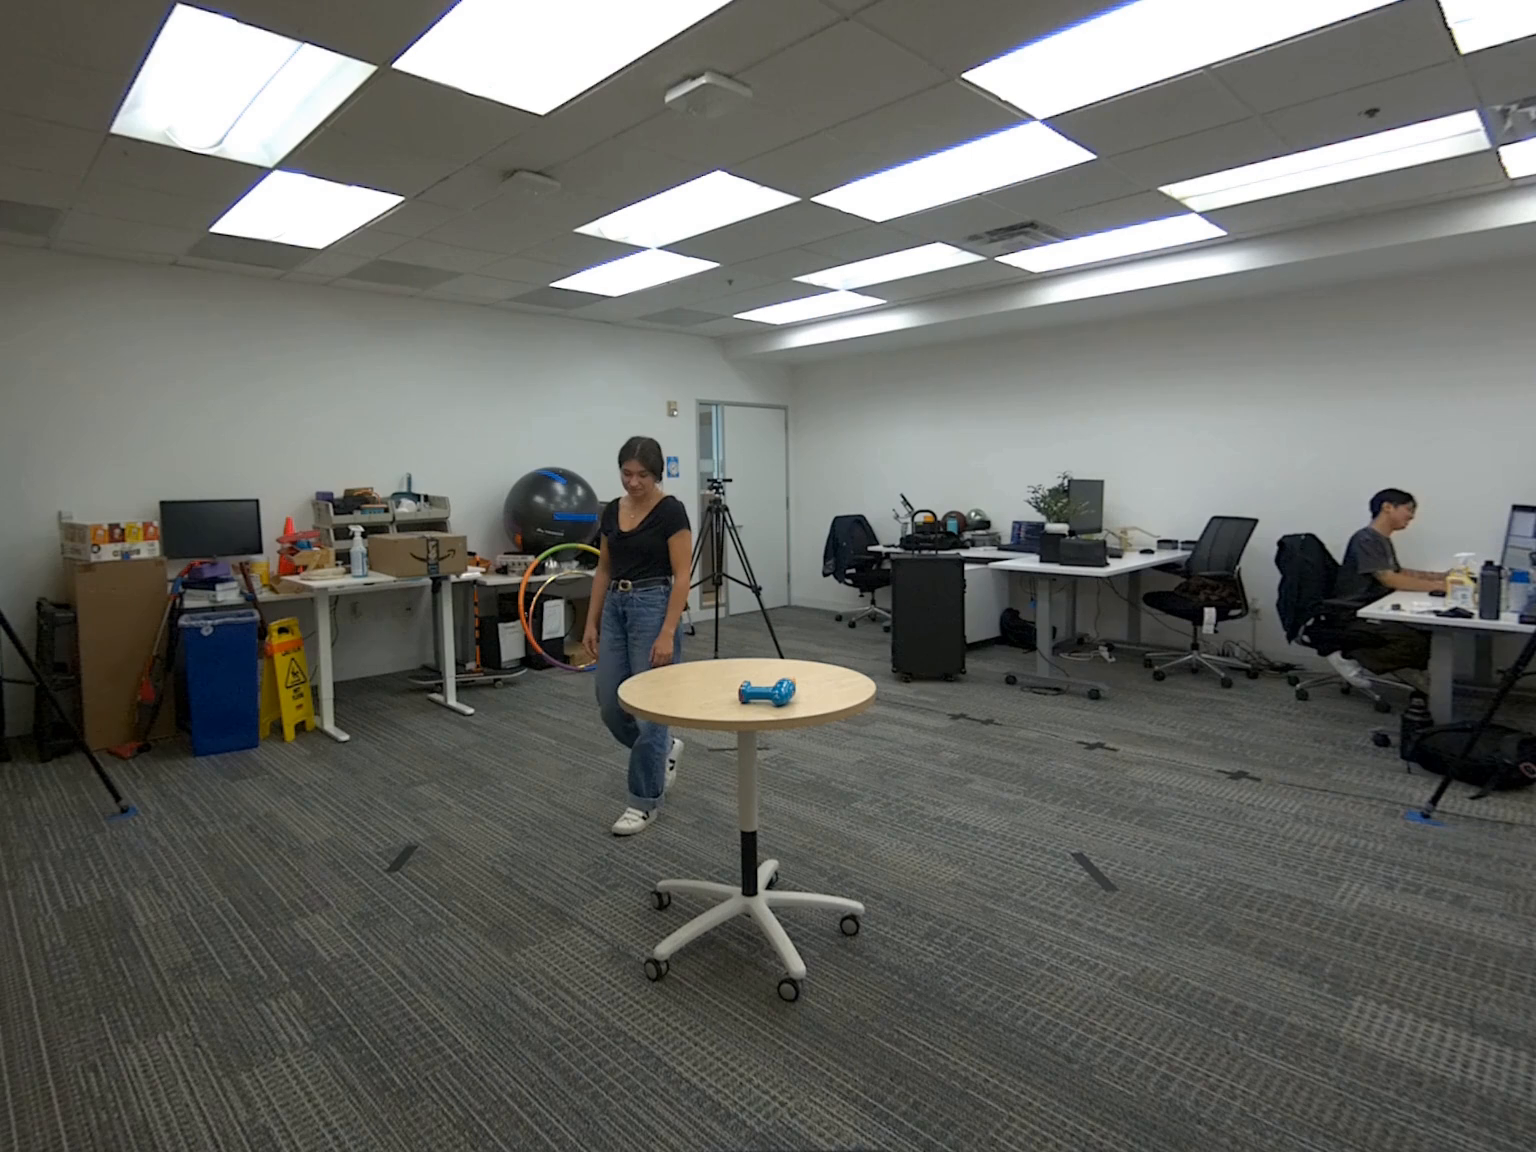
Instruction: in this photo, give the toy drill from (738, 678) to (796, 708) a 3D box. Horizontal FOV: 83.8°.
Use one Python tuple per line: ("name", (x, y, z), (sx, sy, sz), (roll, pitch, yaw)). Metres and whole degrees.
("toy drill", (0.021, 0.318, 2.365), (0.149, 0.060, 0.168), (-1, 14, 20))
